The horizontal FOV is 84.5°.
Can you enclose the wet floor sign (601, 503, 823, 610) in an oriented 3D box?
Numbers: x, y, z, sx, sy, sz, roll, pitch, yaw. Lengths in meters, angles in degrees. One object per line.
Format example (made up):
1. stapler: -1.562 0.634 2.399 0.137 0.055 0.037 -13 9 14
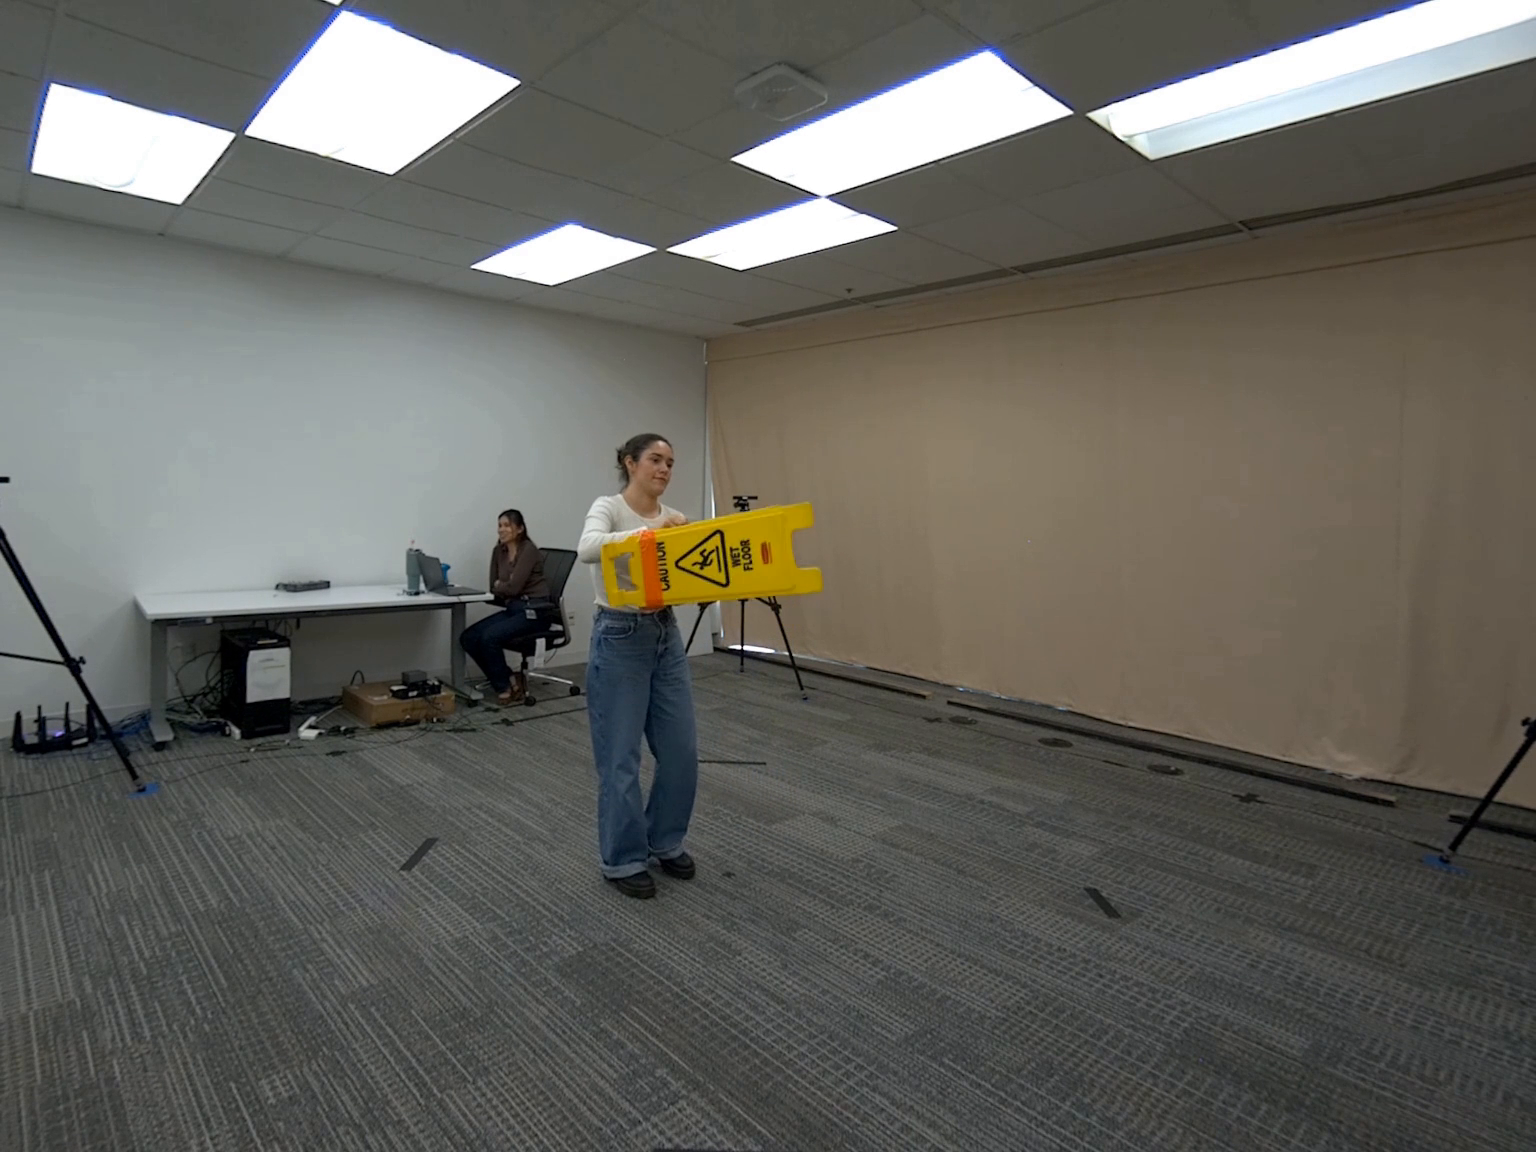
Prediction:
1. wet floor sign: -0.202 -0.044 2.653 0.640 0.282 0.293 -9 3 -14
